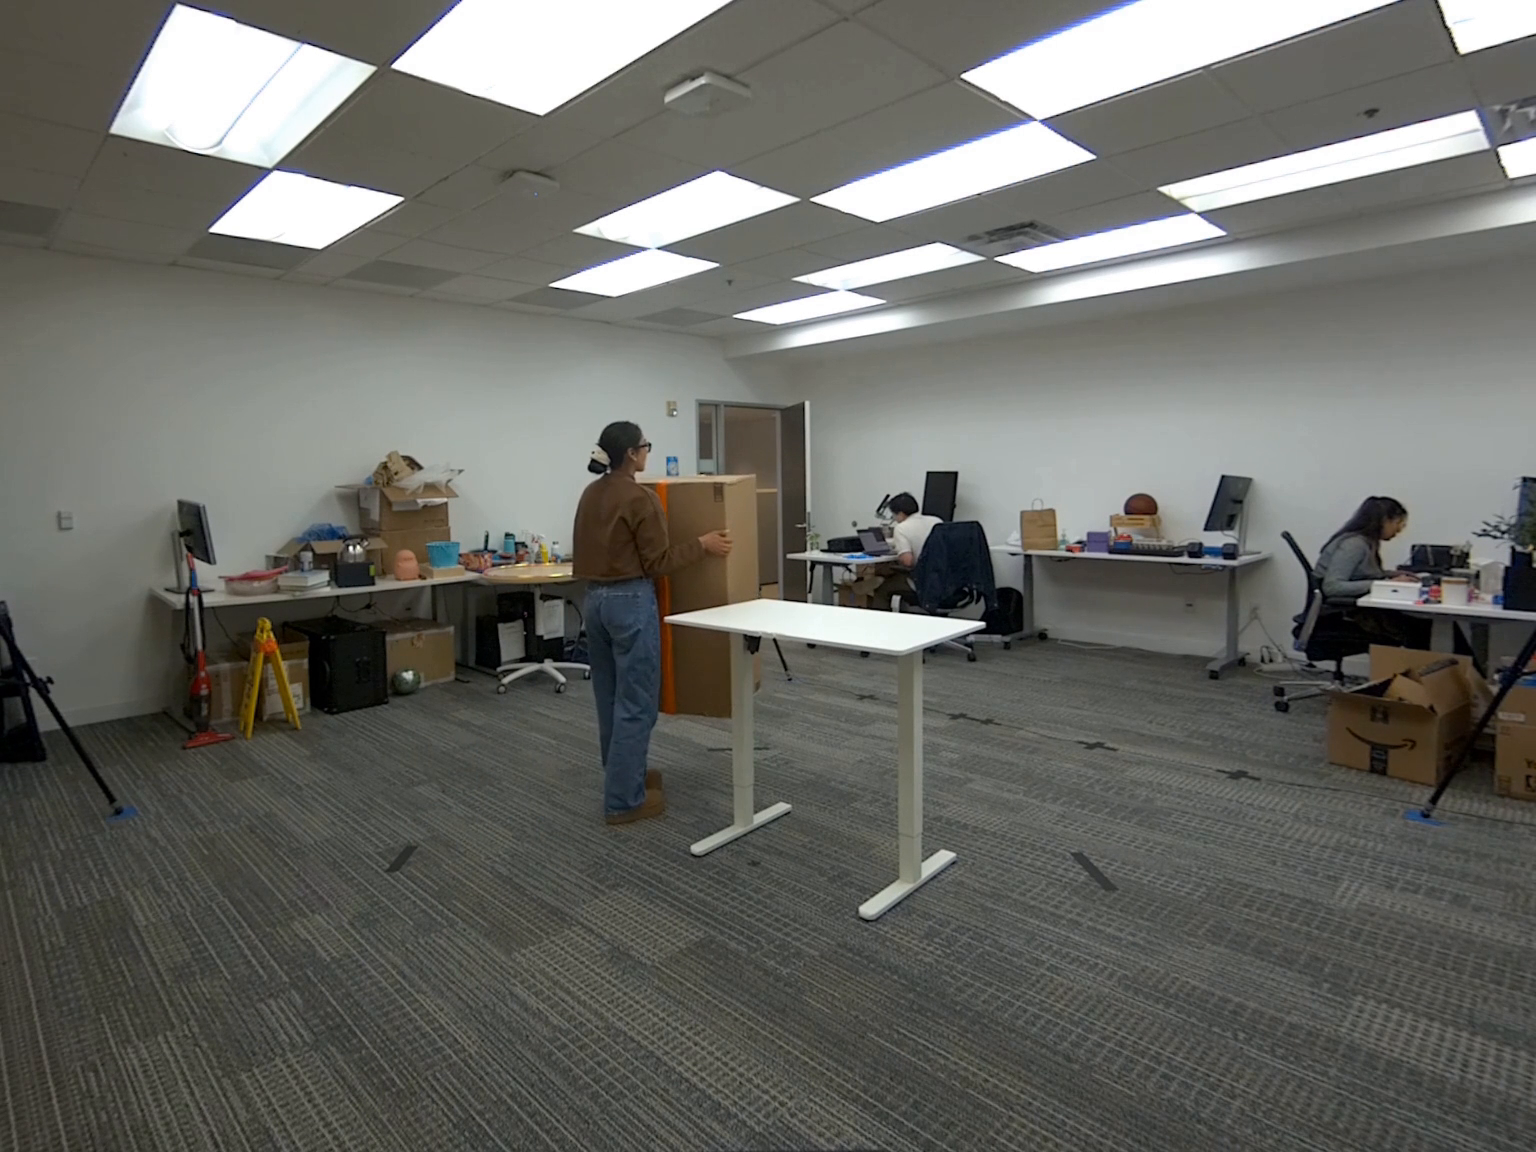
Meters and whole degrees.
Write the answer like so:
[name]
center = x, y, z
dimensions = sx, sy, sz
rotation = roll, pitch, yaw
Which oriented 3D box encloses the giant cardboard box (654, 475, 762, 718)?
[giant cardboard box]
center = -0.379, 0.069, 3.899
dimensions = 0.588, 1.019, 0.421
rotation = 1, 8, 18
